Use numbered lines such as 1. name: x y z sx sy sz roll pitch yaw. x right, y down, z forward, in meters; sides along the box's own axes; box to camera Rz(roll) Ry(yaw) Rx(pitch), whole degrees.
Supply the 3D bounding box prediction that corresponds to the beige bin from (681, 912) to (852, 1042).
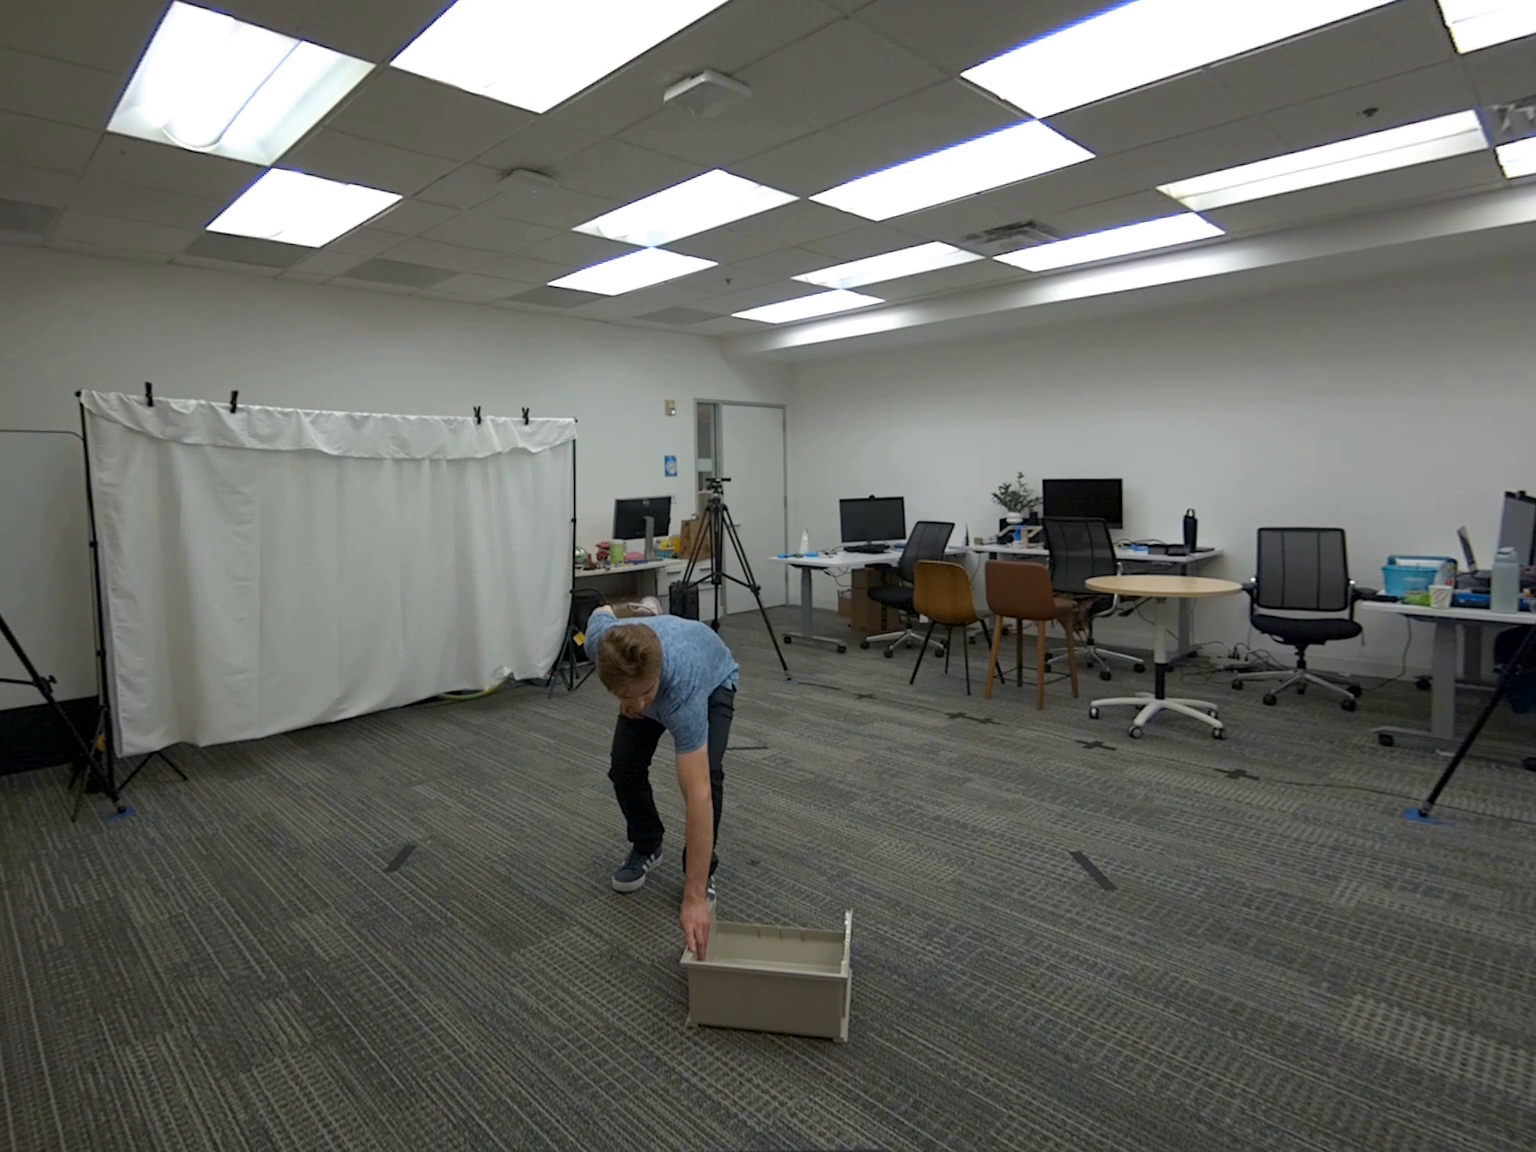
1. beige bin: 0.015 1.046 2.313 0.426 0.188 0.376 0 7 9
